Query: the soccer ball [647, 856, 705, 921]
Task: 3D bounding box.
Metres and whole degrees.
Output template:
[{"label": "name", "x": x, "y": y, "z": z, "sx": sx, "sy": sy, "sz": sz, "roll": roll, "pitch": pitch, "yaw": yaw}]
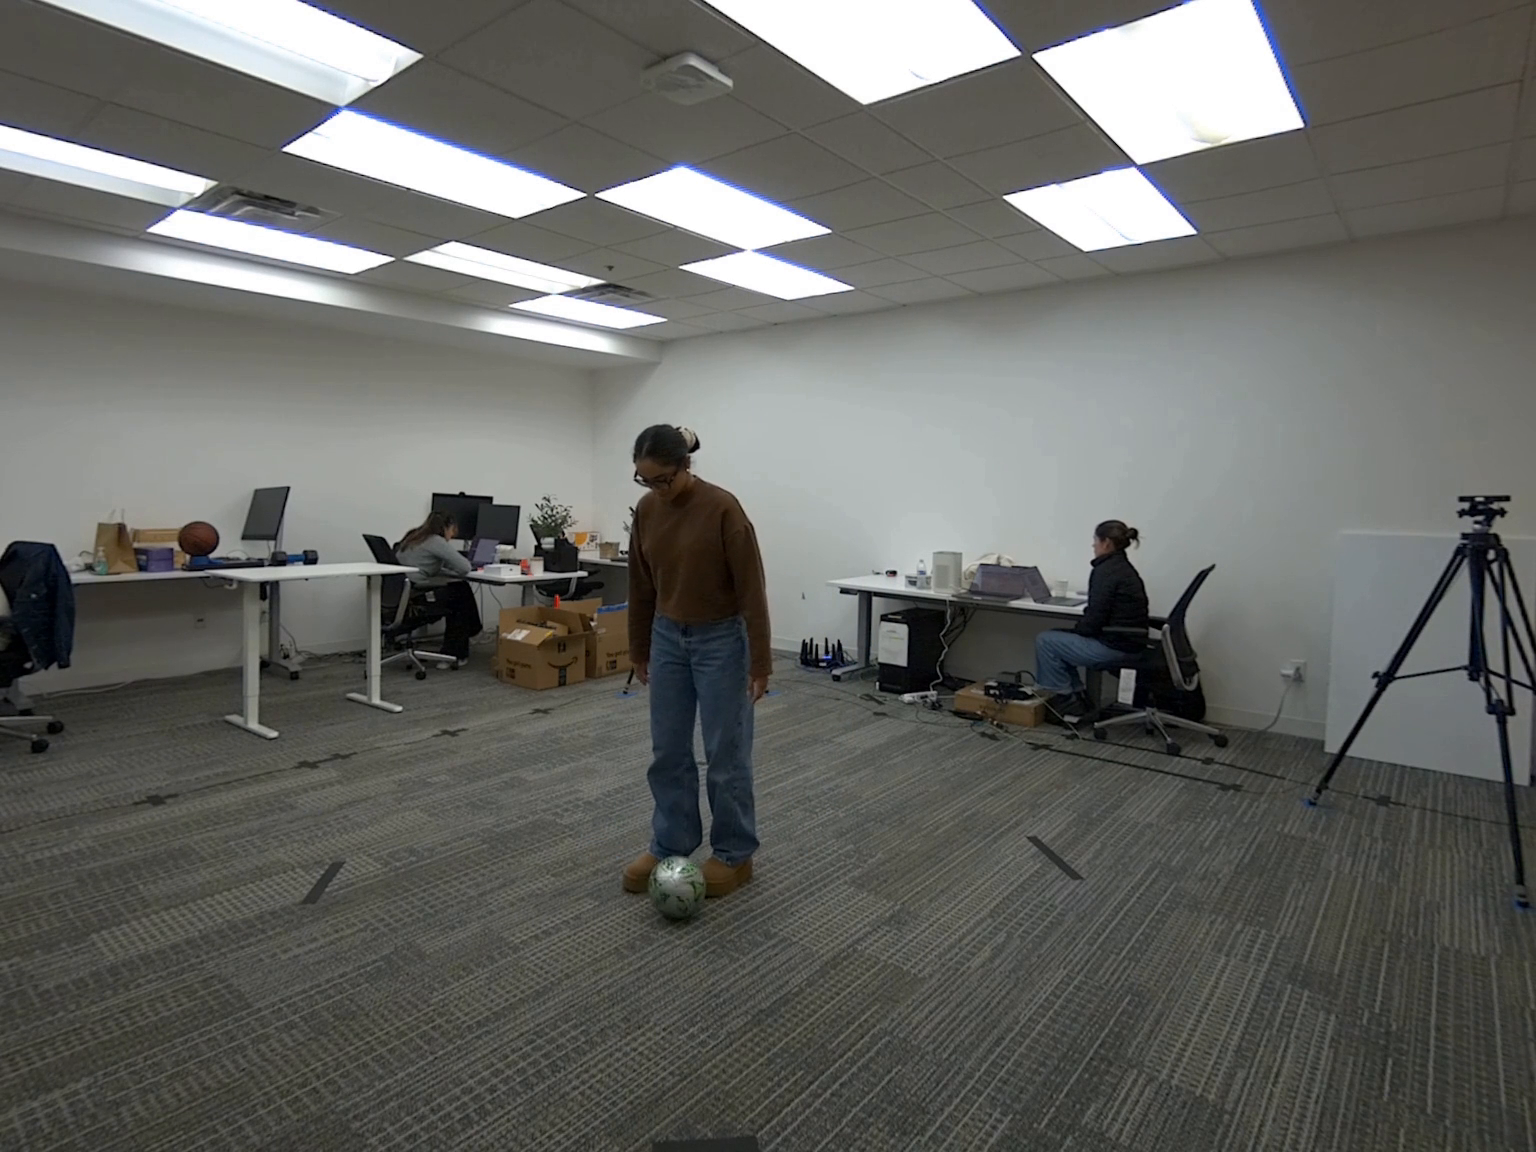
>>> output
[{"label": "soccer ball", "x": -0.305, "y": 1.006, "z": 2.756, "sx": 0.187, "sy": 0.187, "sz": 0.188, "roll": 1, "pitch": 4, "yaw": -2}]
